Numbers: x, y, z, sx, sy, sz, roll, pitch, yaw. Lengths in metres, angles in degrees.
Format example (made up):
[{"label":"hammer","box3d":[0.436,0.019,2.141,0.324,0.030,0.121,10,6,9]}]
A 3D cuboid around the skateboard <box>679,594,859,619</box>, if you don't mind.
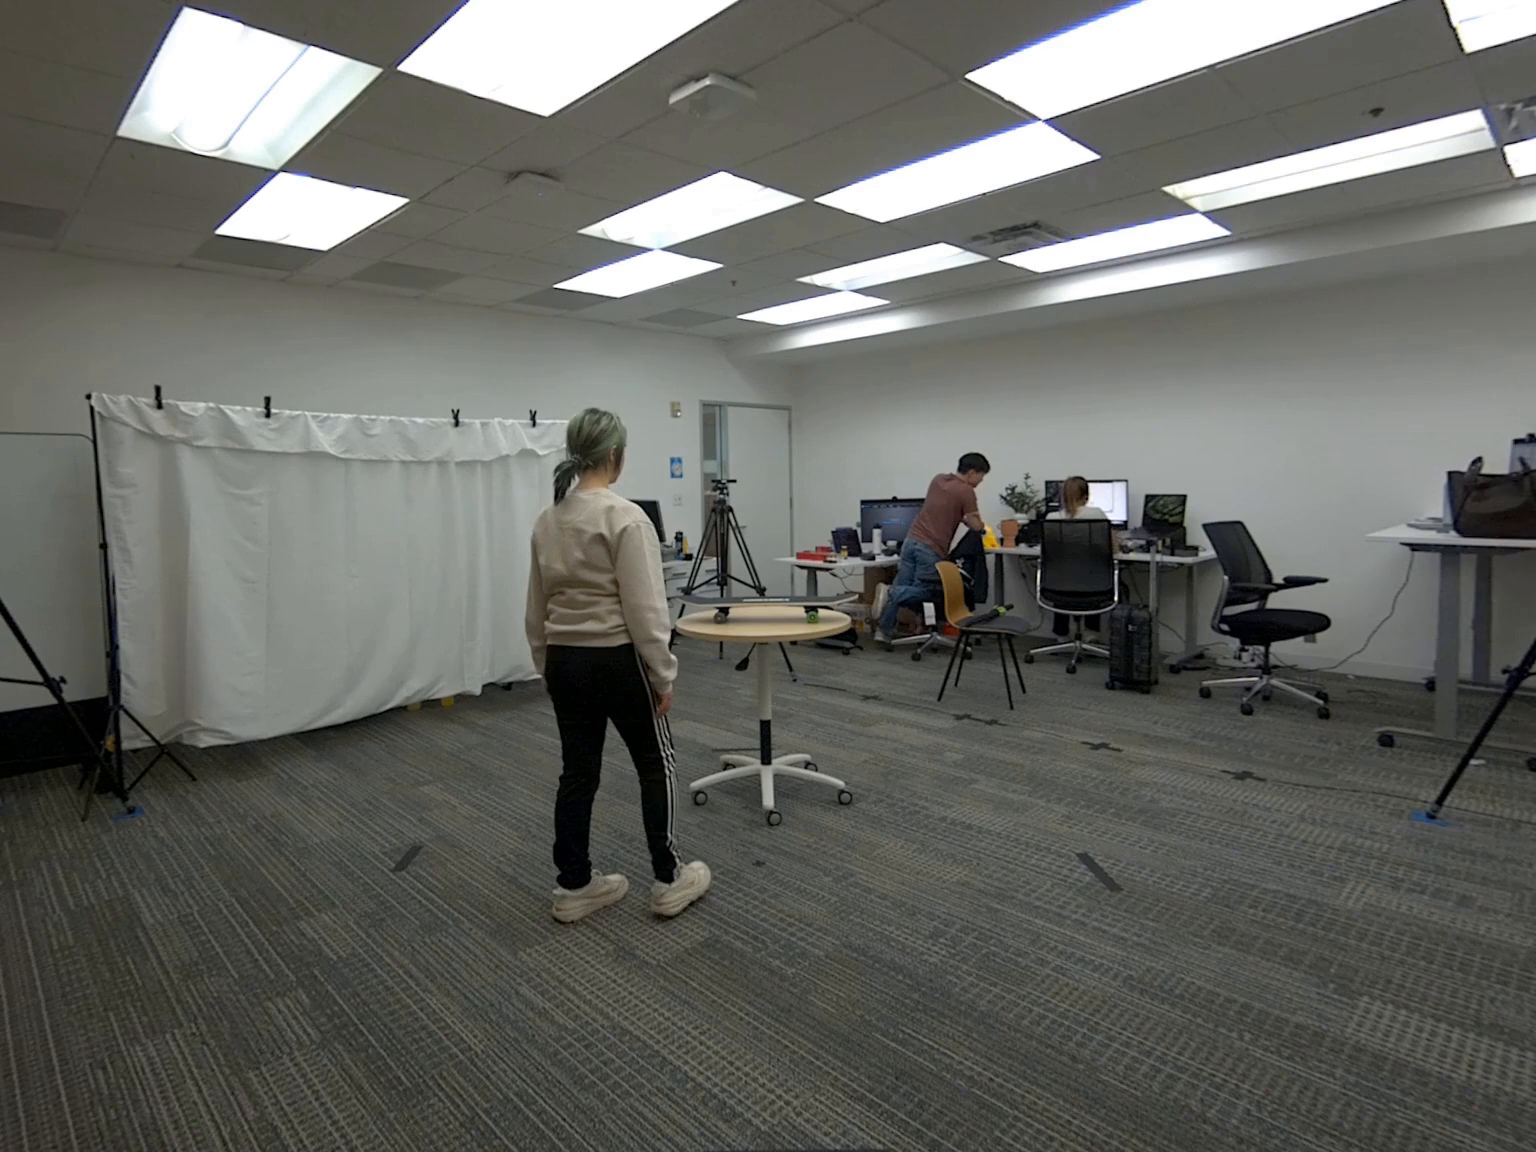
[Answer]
[{"label":"skateboard","box3d":[-0.010,0.147,3.734,0.791,0.110,0.193,-1,5,7]}]
